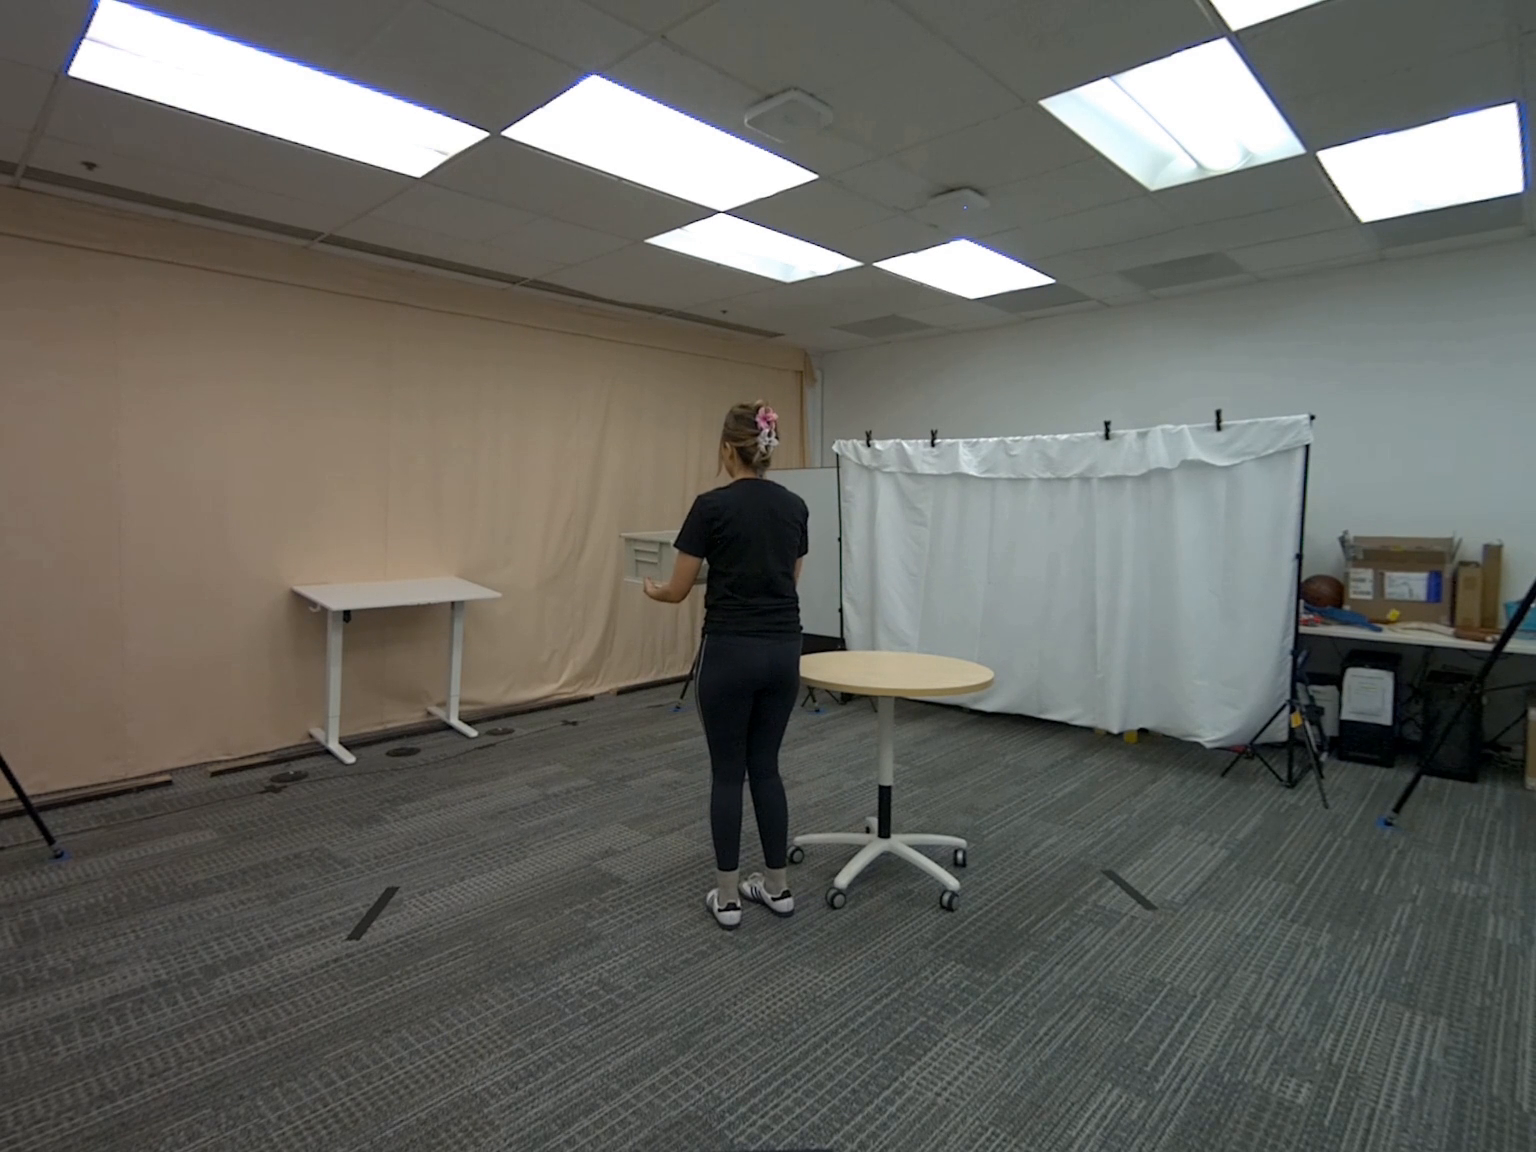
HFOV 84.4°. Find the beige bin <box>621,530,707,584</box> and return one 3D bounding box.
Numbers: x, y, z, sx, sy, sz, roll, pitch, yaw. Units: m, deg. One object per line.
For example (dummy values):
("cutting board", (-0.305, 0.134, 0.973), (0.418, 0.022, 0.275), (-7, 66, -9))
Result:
("beige bin", (-0.279, -0.068, 3.200), (0.410, 0.188, 0.390), (-7, 8, -39))
